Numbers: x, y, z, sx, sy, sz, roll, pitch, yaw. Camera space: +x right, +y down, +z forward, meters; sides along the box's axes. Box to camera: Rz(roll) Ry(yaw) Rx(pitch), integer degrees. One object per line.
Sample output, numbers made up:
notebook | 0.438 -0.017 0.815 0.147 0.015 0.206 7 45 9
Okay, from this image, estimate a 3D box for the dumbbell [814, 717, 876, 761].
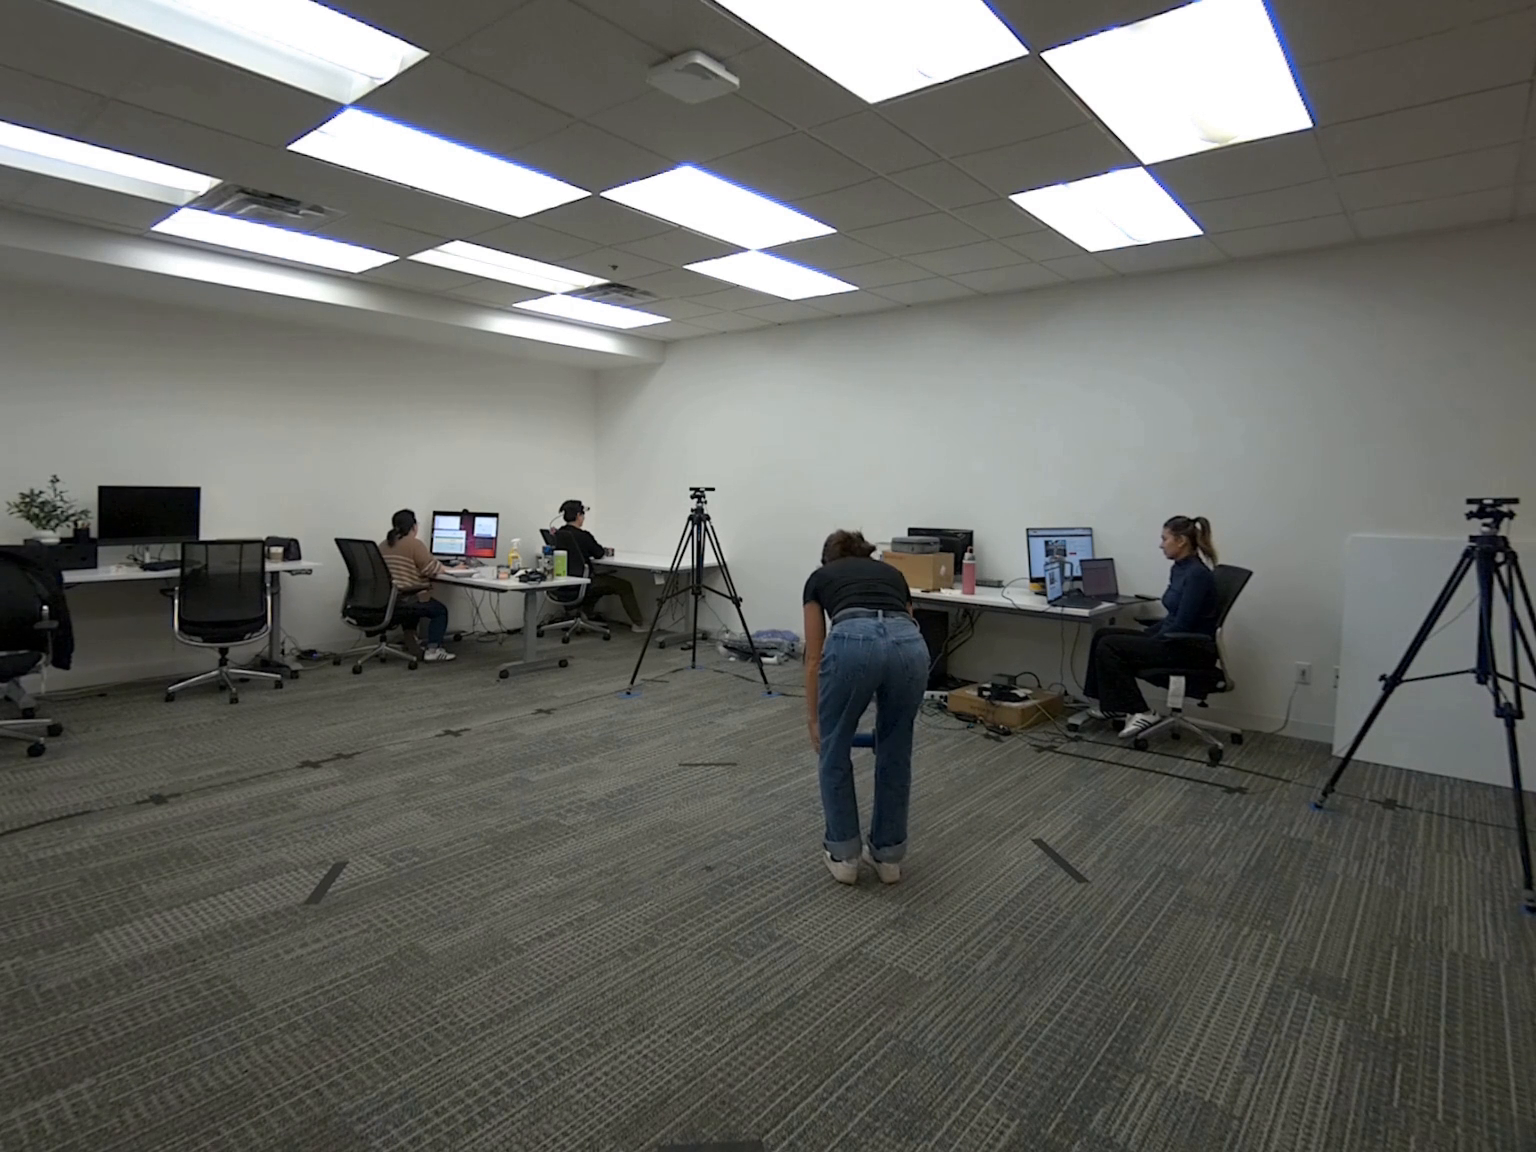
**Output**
dumbbell | 0.328 0.622 3.243 0.294 0.106 0.125 3 27 1
